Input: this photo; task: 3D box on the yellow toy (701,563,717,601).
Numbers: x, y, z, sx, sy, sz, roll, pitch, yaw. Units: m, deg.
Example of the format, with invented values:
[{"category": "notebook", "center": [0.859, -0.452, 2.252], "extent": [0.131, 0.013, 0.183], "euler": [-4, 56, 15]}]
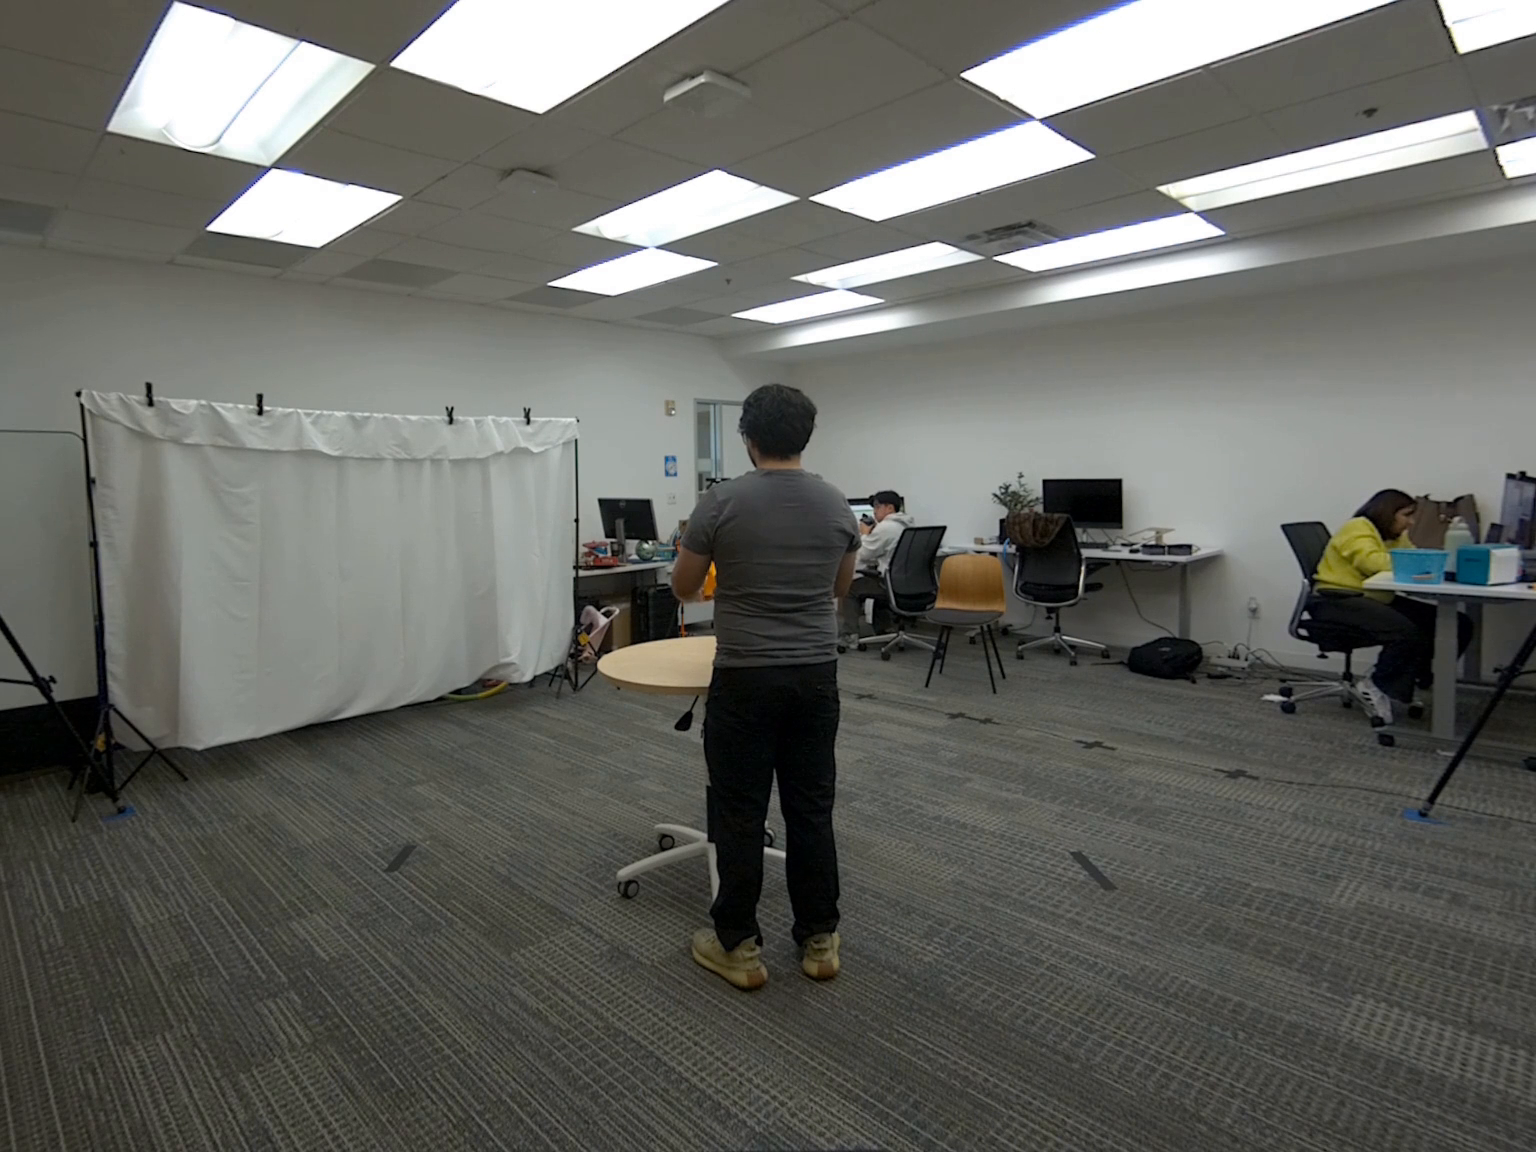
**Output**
[{"category": "yellow toy", "center": [-0.136, -0.028, 2.834], "extent": [0.200, 0.195, 0.233], "euler": [-6, -9, -26]}]
